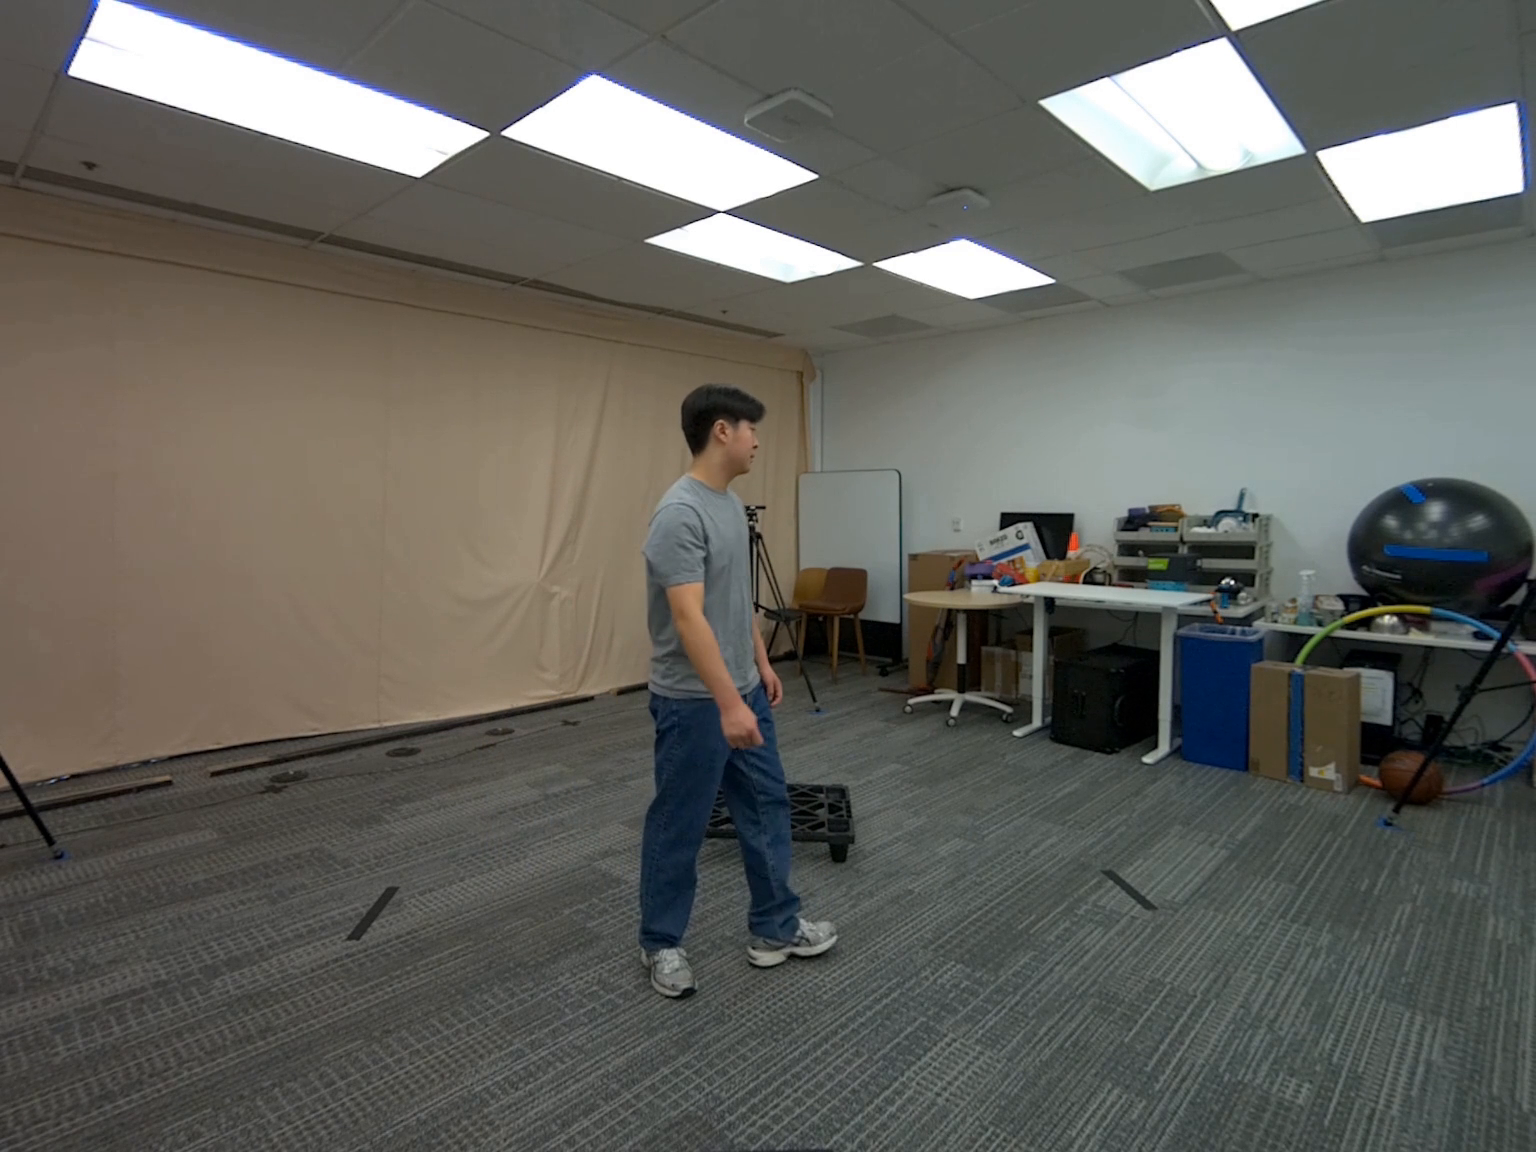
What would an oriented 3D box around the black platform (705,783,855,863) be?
[{"bbox_3d":[-0.046,1.026,3.537,0.811,0.143,0.603,0,5,5],"label":"black platform"}]
